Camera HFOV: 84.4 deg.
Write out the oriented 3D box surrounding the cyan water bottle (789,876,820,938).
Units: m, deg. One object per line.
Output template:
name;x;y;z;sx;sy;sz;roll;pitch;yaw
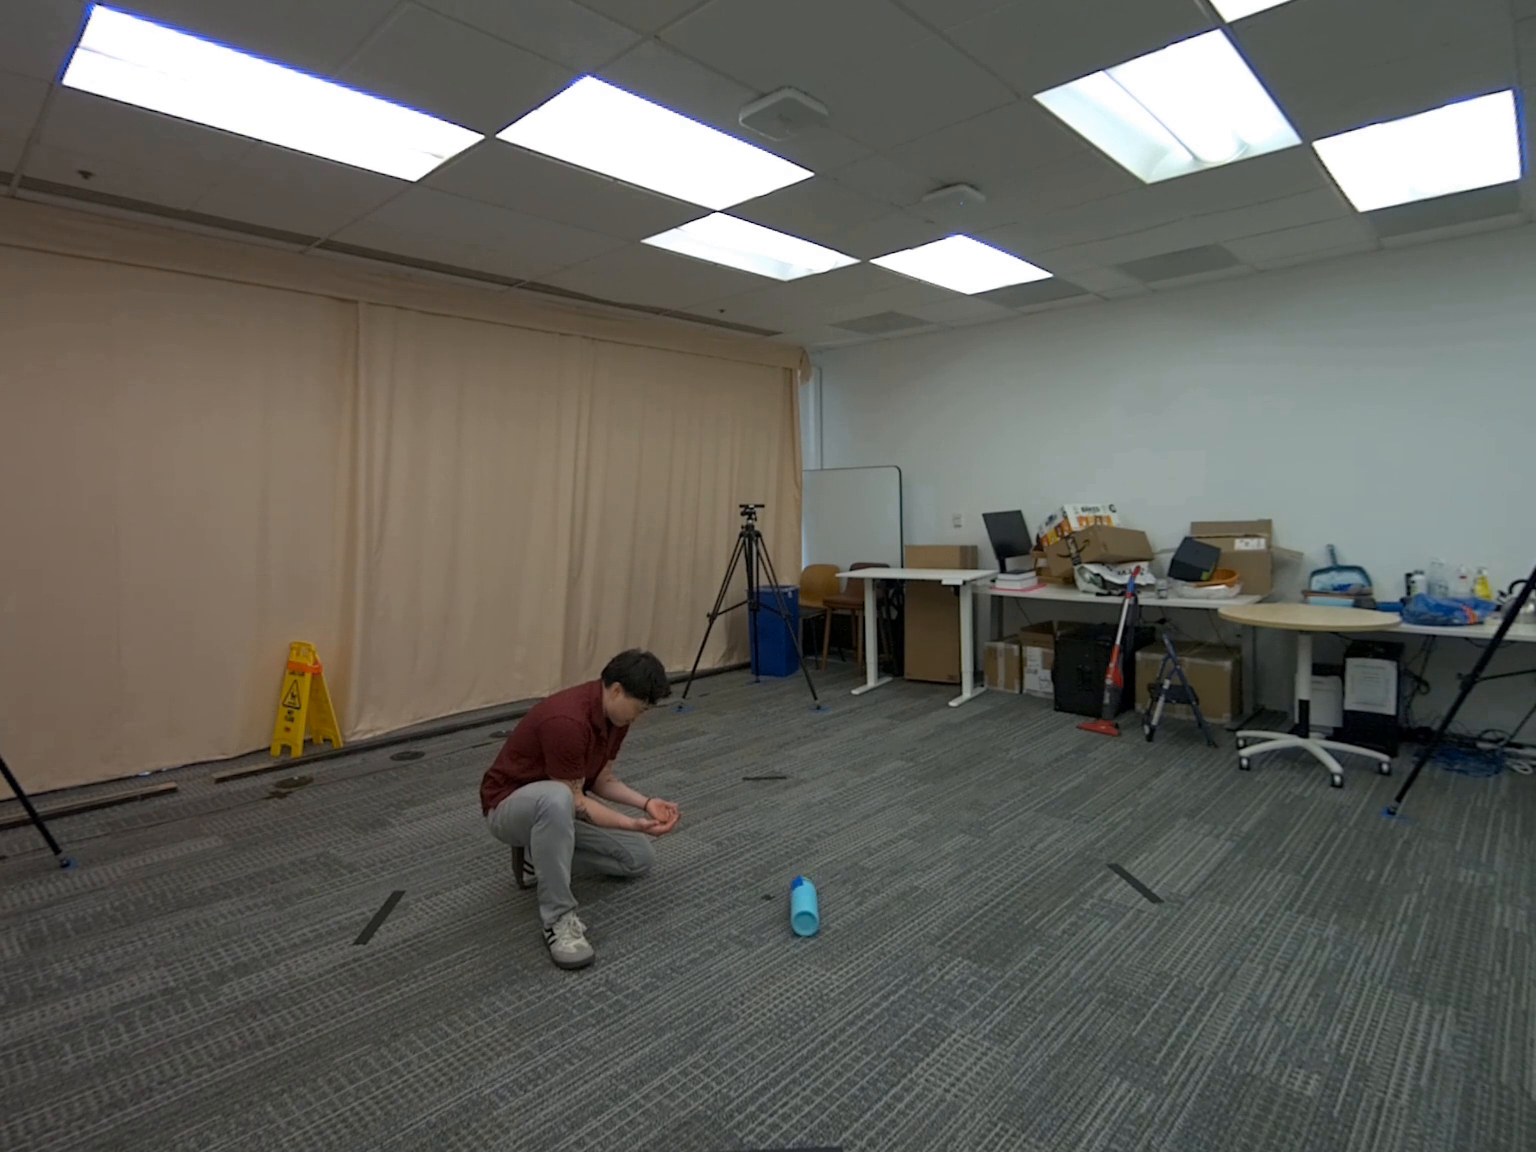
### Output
cyan water bottle;0.125;1.103;2.834;0.093;0.092;0.282;-1;2;3
